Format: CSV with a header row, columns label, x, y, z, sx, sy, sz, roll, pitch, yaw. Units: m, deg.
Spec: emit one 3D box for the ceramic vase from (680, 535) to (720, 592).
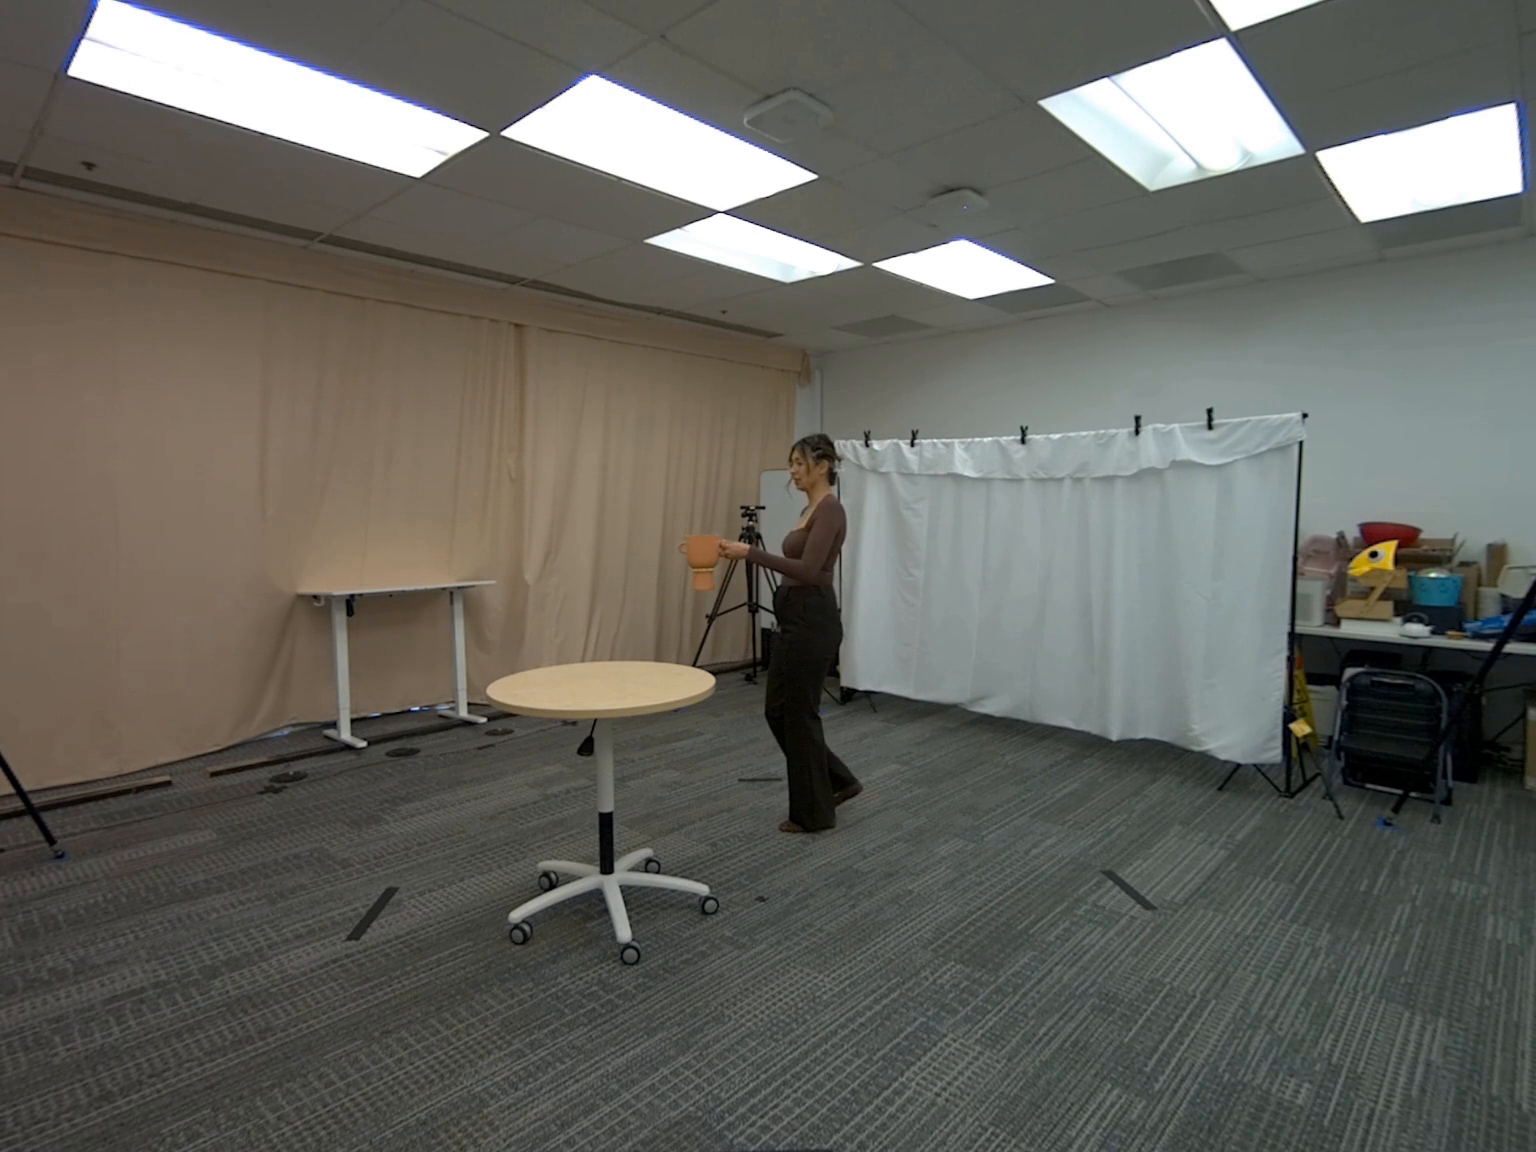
label,x,y,z,sx,sy,sz,roll,pitch,yaw
ceramic vase,-0.259,-0.053,3.405,0.164,0.219,0.130,2,5,43
